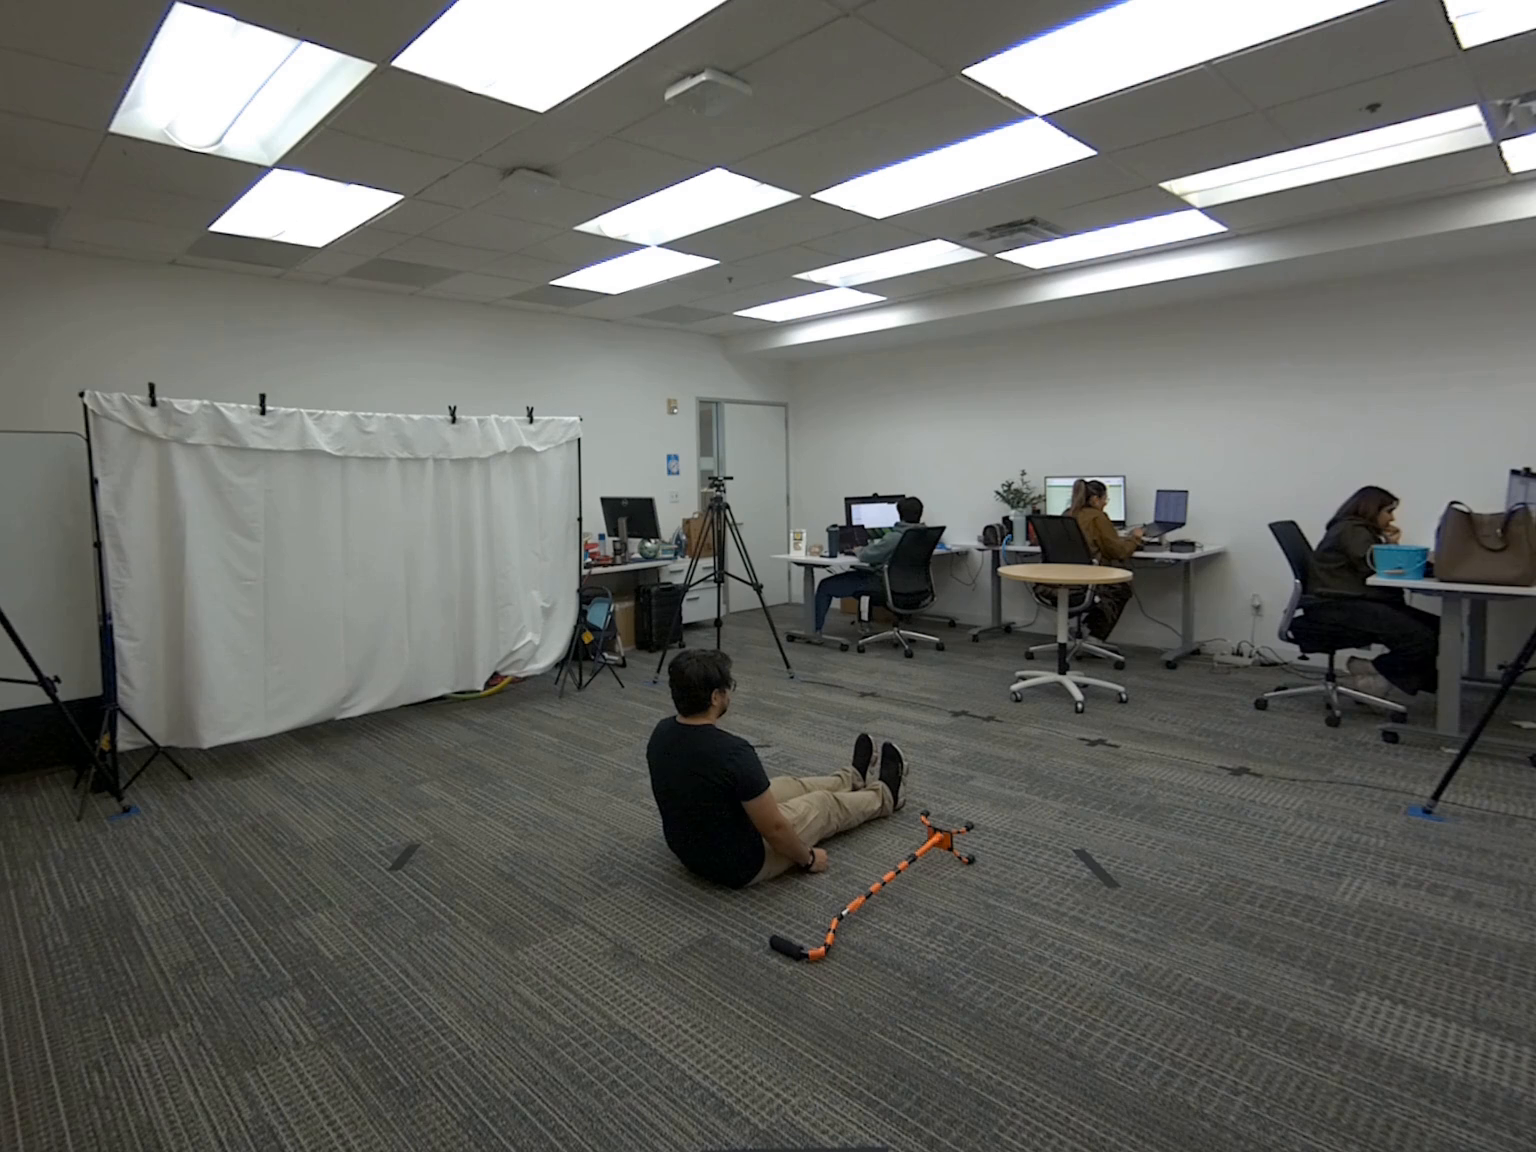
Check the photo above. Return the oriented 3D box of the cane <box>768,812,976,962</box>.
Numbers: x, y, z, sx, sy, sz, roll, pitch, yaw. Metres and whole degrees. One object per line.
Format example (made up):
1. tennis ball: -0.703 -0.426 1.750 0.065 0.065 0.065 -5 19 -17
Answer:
1. cane: 0.366 1.011 2.799 0.213 0.150 0.888 6 14 41
